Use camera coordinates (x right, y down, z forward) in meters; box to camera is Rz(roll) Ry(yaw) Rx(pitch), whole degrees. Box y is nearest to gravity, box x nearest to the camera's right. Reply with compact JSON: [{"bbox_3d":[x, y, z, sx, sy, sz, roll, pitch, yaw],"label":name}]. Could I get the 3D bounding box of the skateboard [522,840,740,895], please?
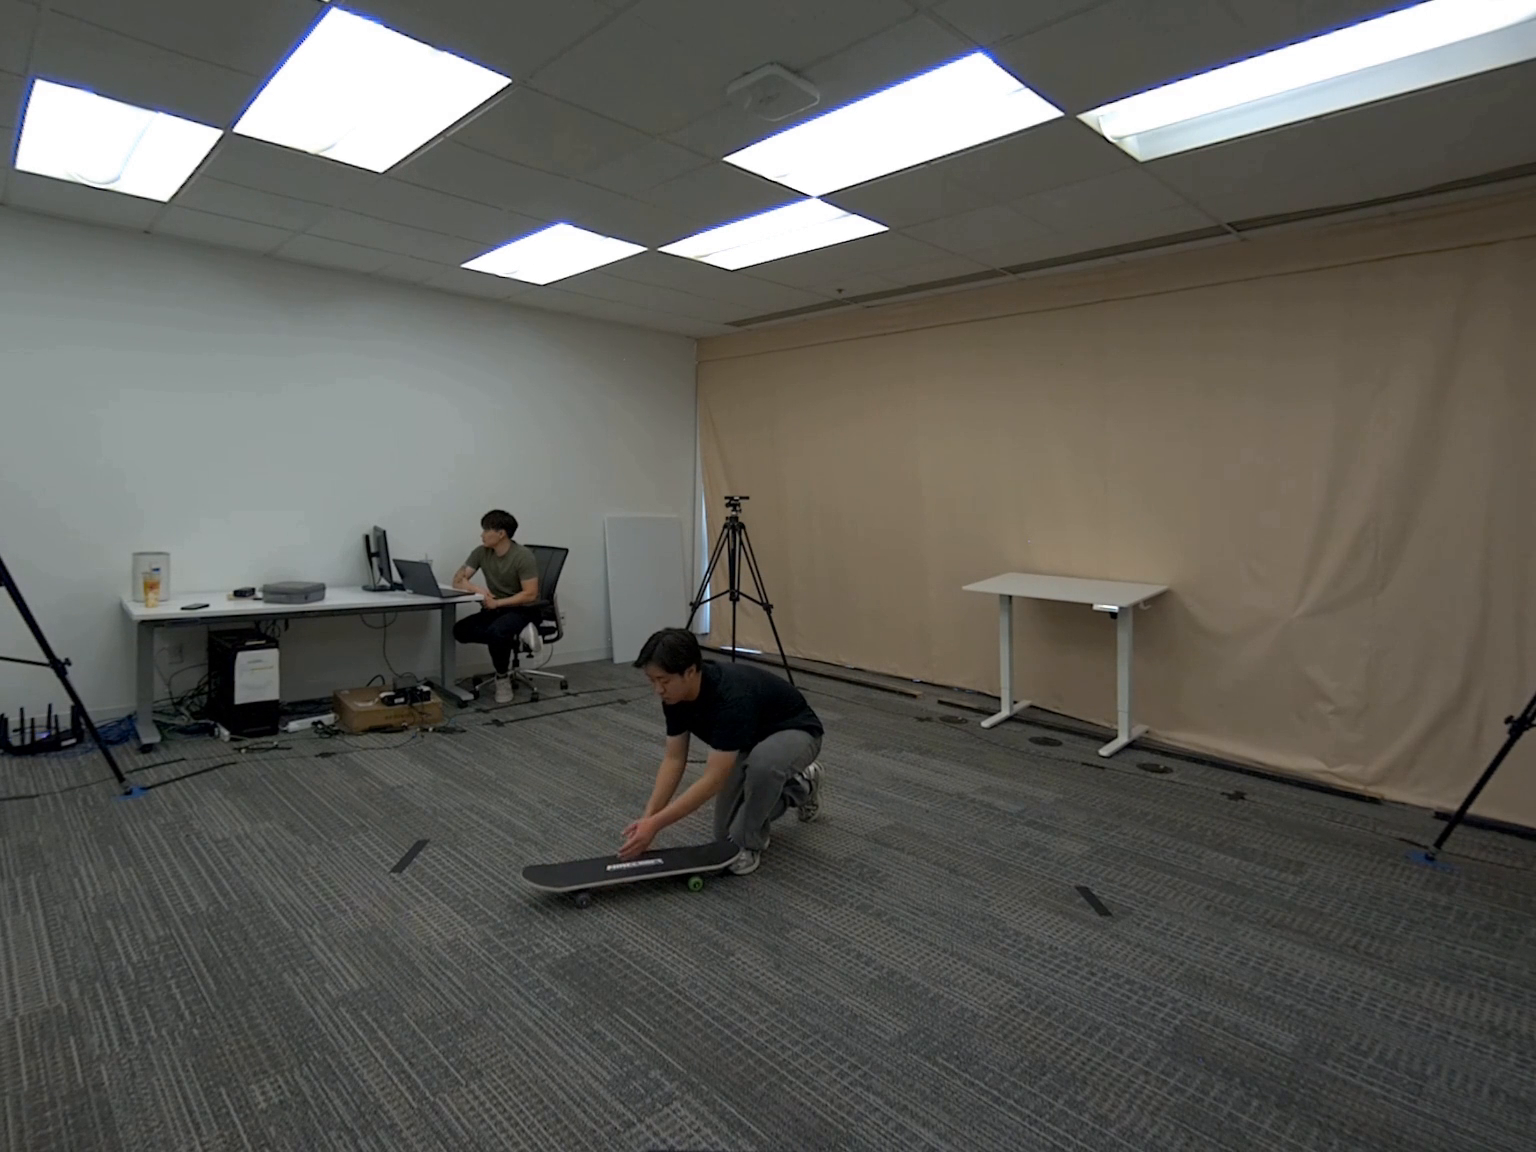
[{"bbox_3d":[-0.474,1.052,2.968,0.773,0.110,0.197,0,6,-21],"label":"skateboard"}]
